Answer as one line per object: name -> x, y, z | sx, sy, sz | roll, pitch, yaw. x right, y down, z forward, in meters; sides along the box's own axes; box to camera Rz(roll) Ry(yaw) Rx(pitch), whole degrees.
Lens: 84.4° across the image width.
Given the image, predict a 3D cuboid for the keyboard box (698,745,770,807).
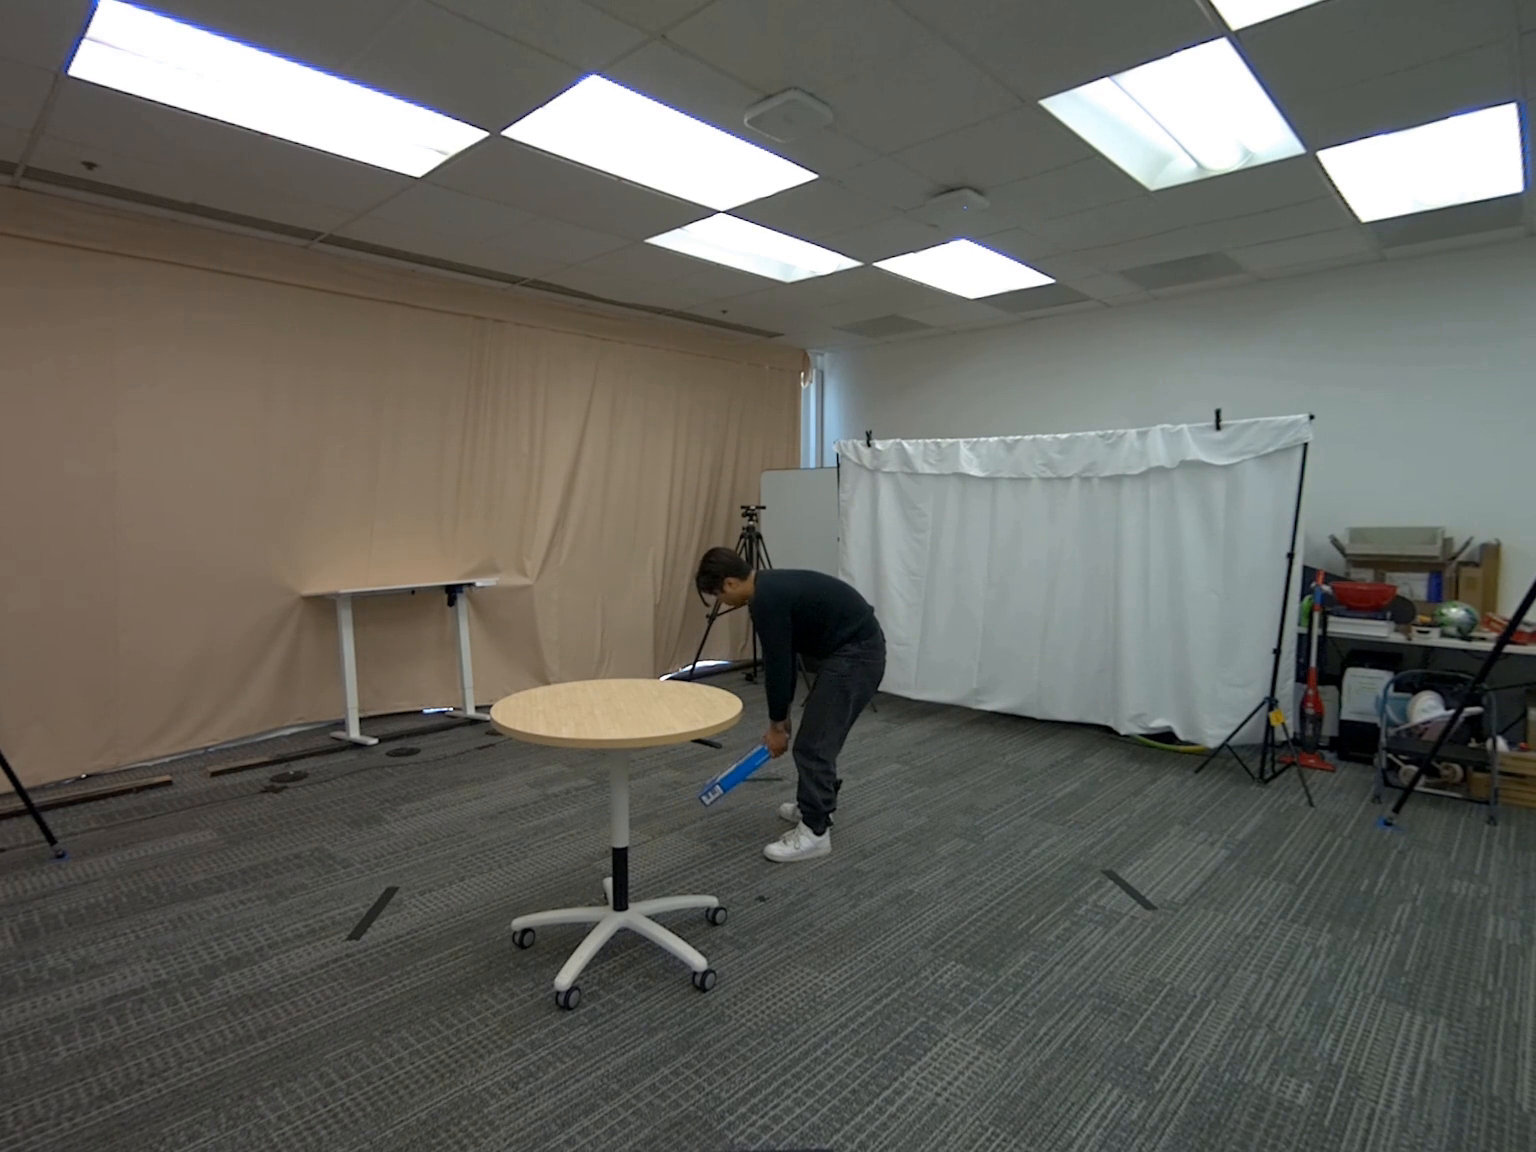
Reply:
keyboard box -> -0.103, 0.799, 3.559 | 0.438, 0.059, 0.175 | -38, 1, 7
